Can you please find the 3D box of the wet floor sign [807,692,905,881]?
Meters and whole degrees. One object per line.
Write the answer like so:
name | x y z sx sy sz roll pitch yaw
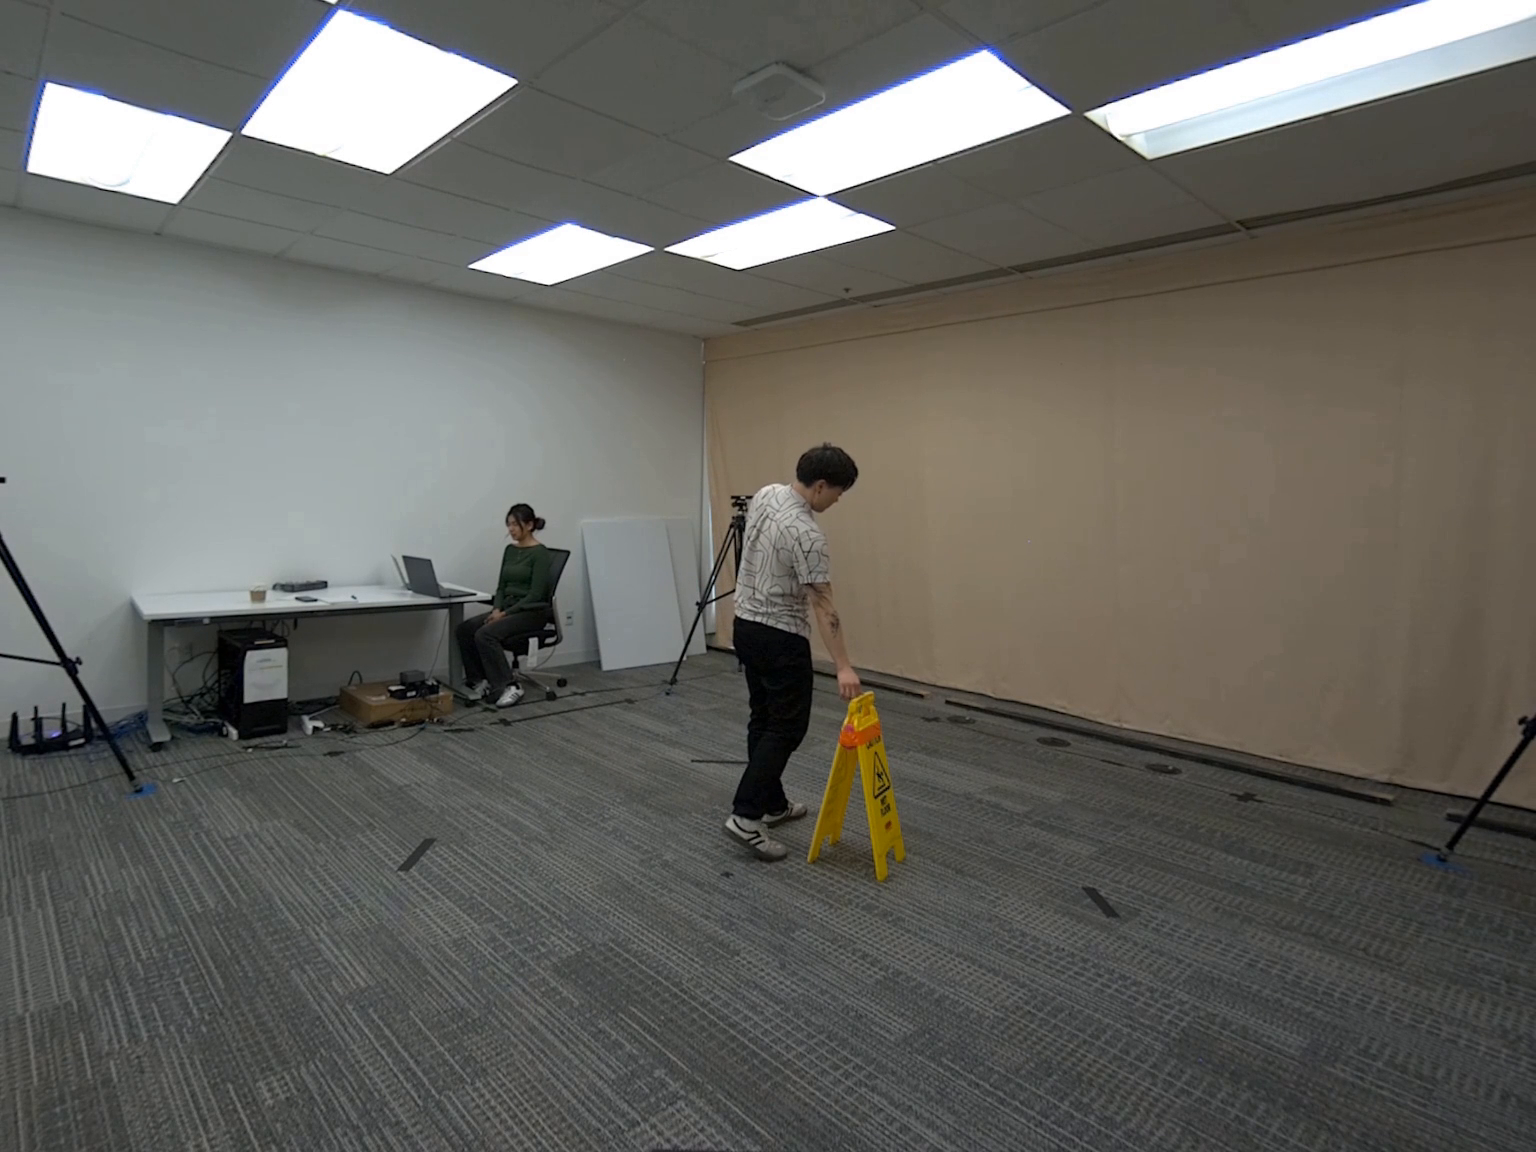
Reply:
wet floor sign | 0.342 0.776 3.243 0.296 0.645 0.277 2 2 29
